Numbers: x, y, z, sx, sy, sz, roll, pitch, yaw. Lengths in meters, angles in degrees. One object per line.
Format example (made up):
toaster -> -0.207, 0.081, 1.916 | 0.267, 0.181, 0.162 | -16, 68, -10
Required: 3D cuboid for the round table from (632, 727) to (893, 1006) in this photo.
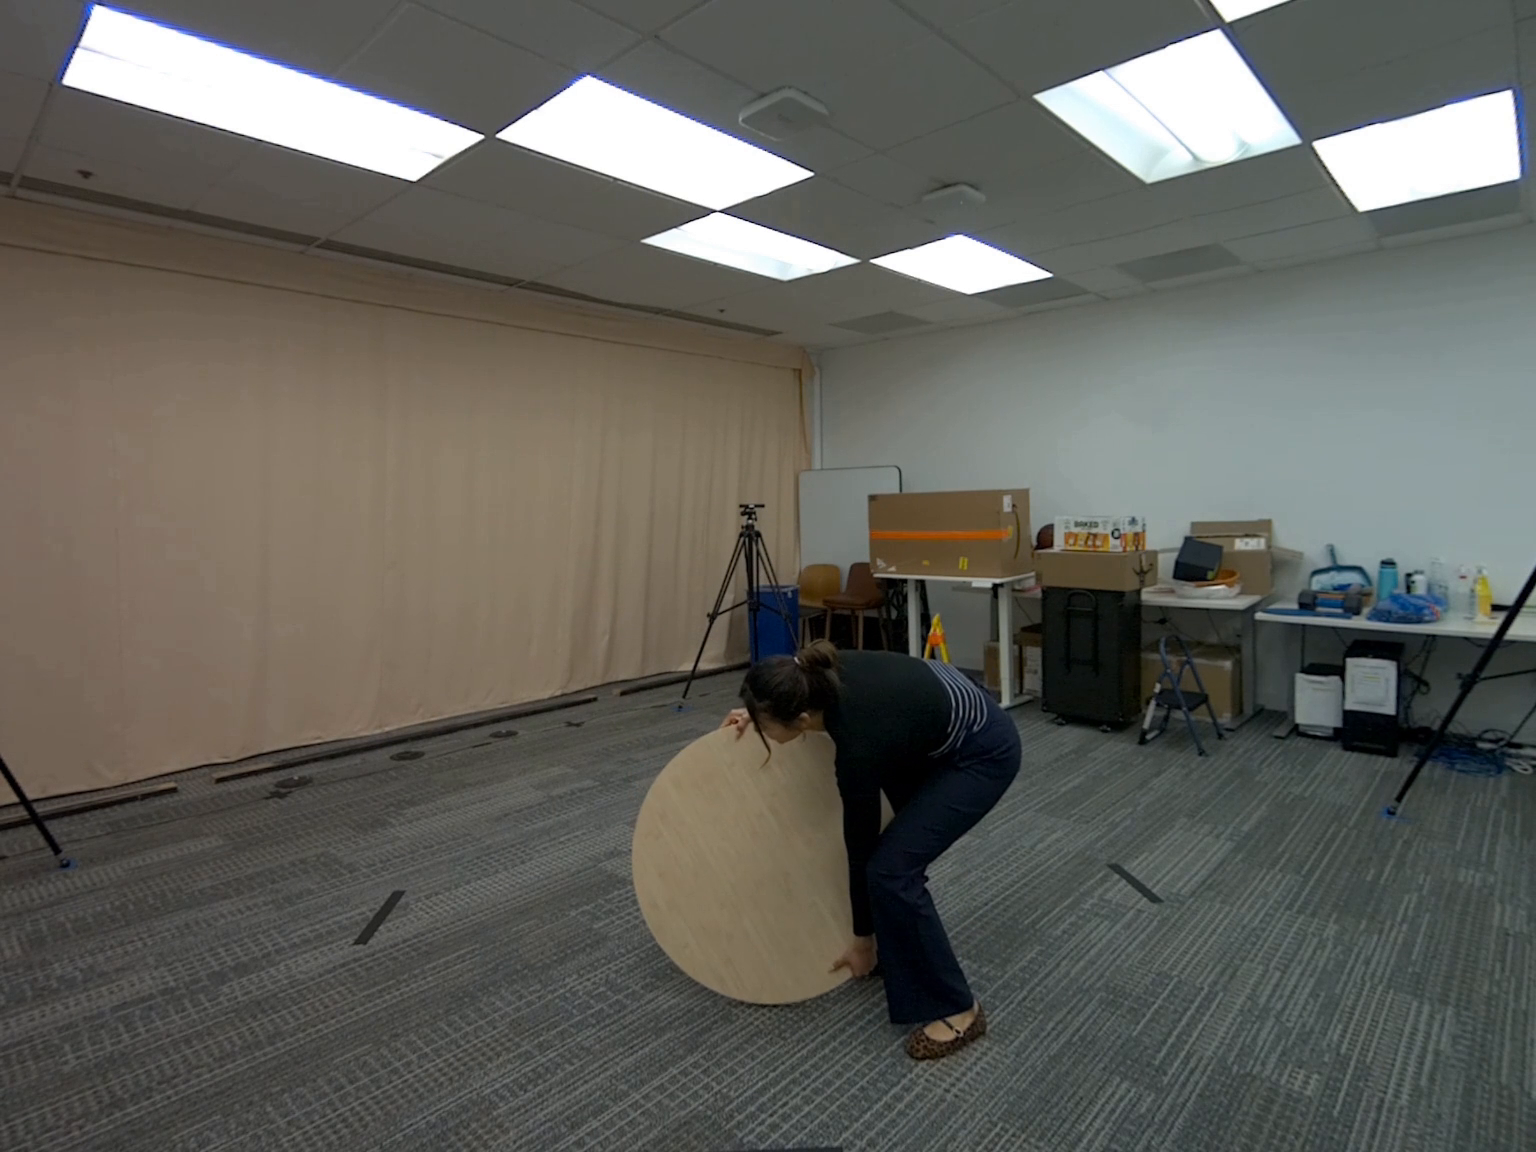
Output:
round table -> 0.007, 0.831, 2.751 | 0.768, 0.766, 0.788 | -1, -5, 3
